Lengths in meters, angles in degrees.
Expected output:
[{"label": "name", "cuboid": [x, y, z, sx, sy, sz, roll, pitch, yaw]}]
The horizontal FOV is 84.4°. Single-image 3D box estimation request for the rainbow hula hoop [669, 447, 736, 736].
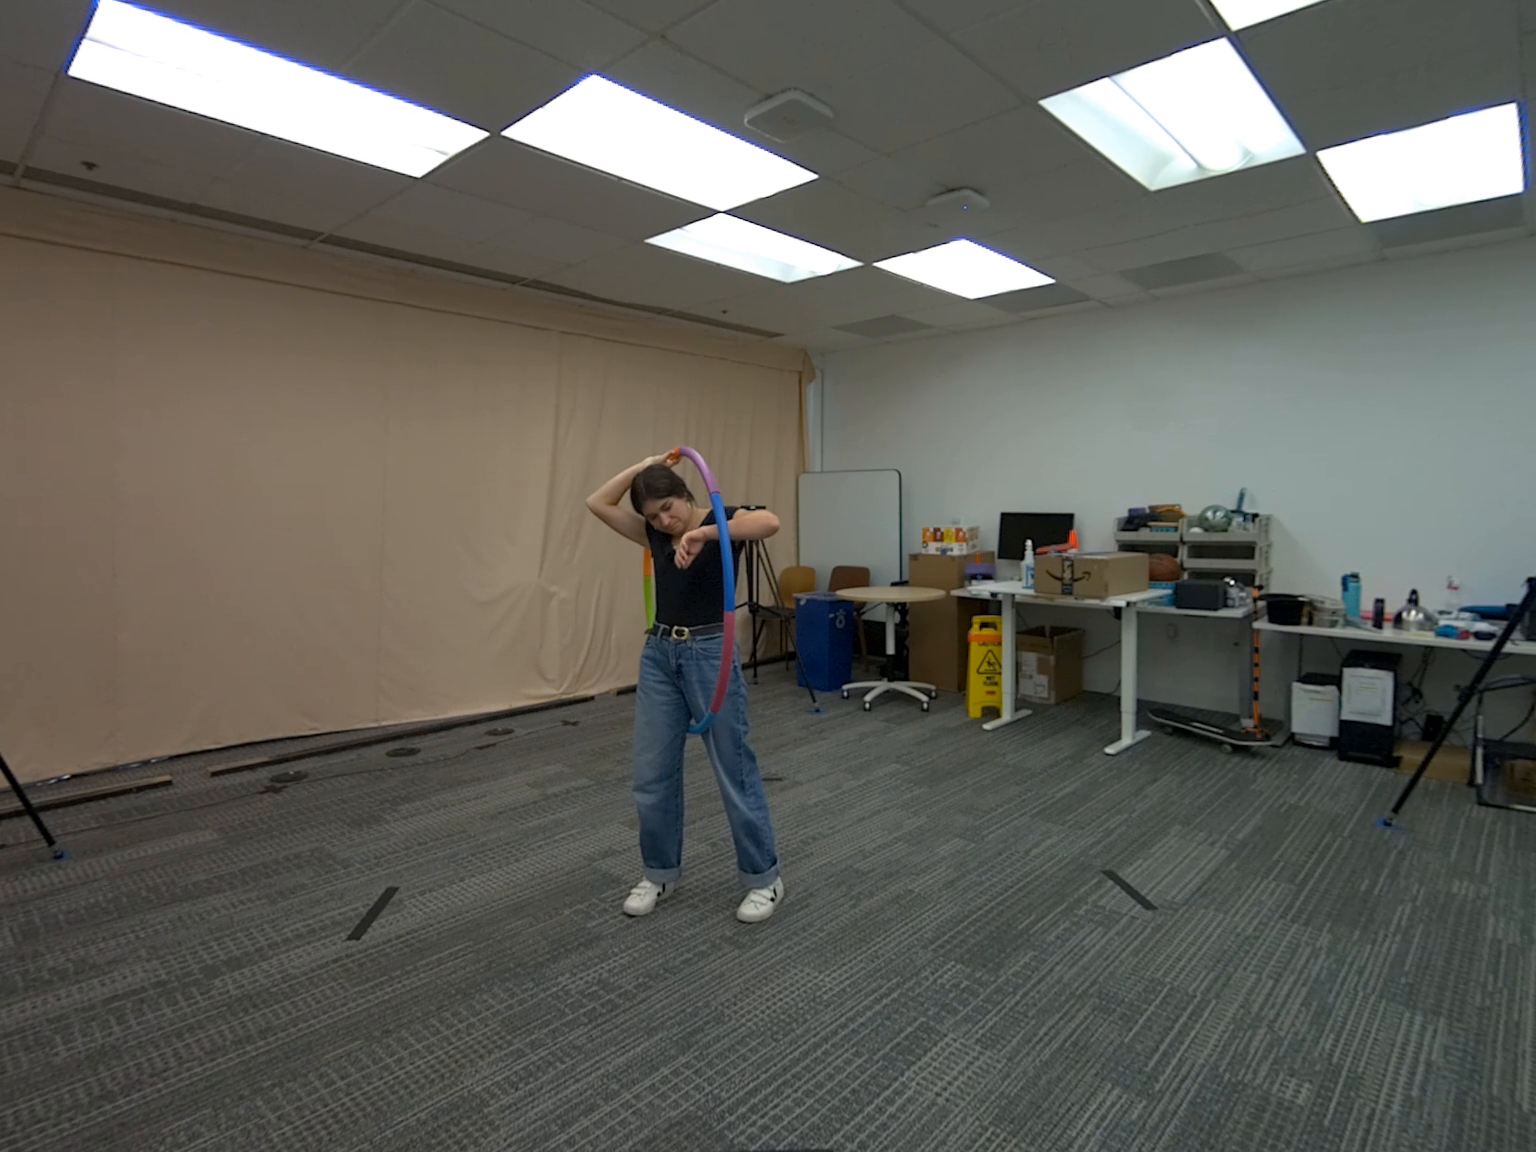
[{"label": "rainbow hula hoop", "cuboid": [-0.294, 0.040, 2.951, 0.035, 0.976, 1.002, -2, 4, -23]}]
